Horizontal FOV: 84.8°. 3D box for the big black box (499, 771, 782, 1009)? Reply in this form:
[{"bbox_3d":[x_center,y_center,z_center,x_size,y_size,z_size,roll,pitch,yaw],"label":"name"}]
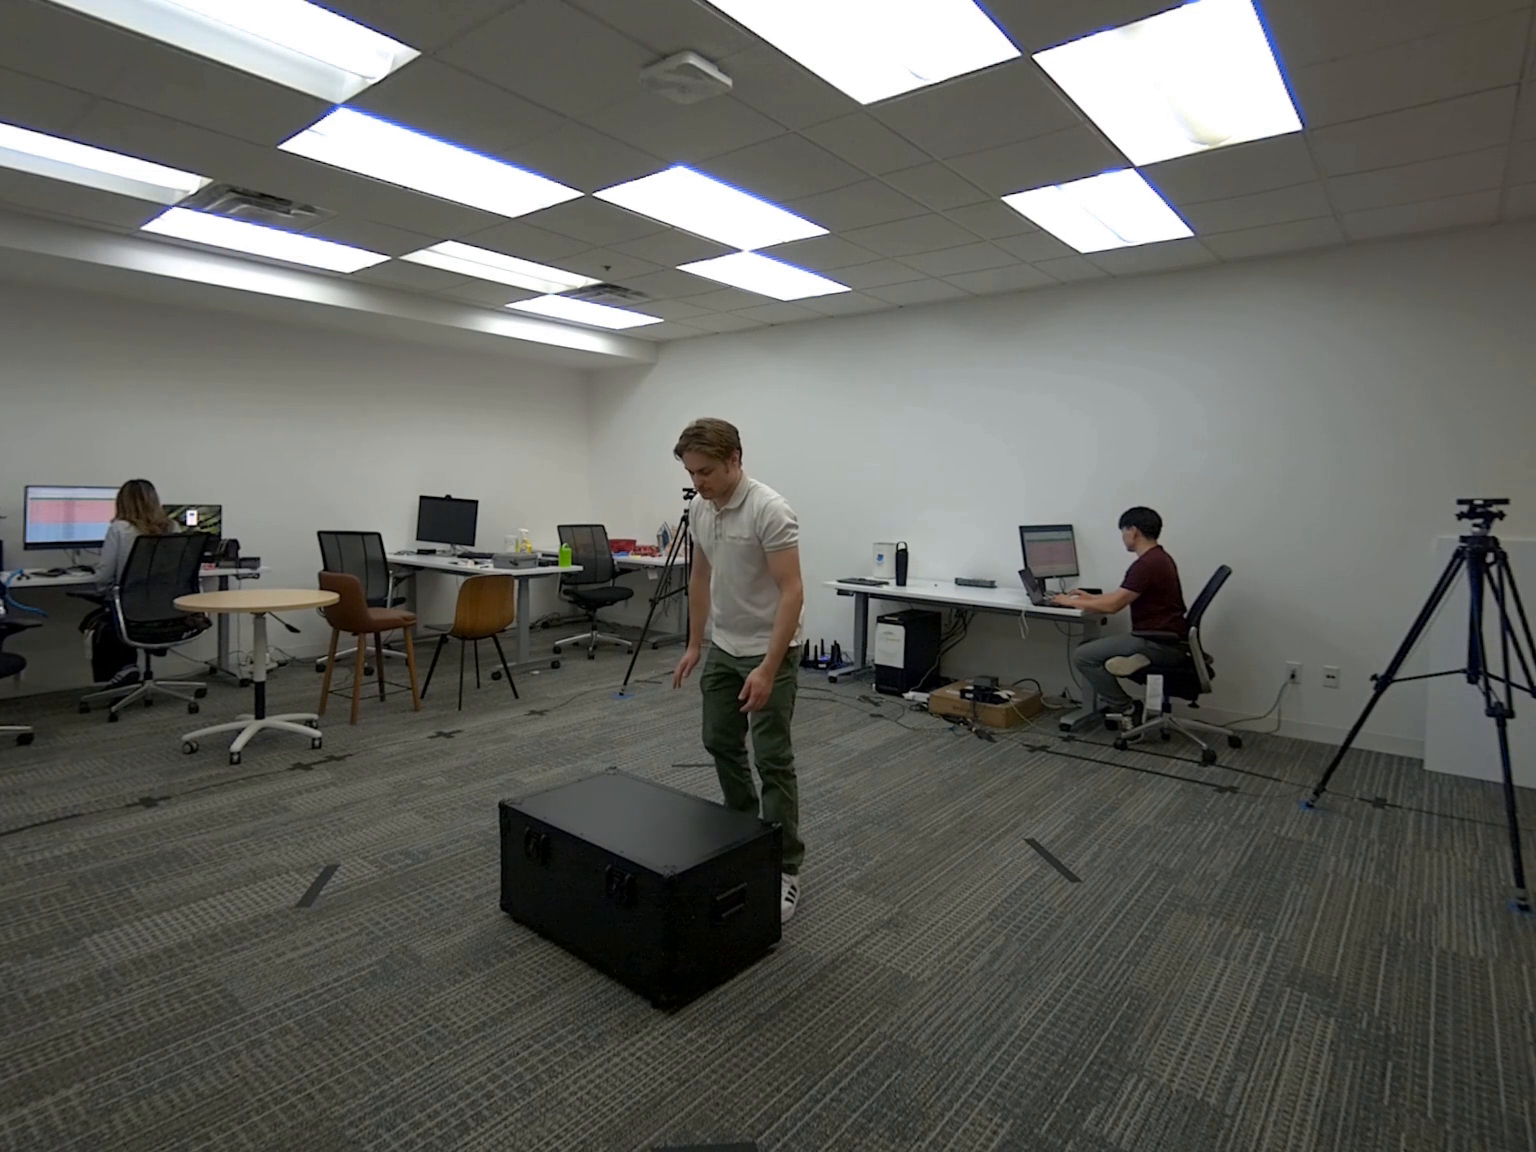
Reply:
[{"bbox_3d":[-0.443,0.916,2.671,0.891,0.395,0.506,6,7,40],"label":"big black box"}]
